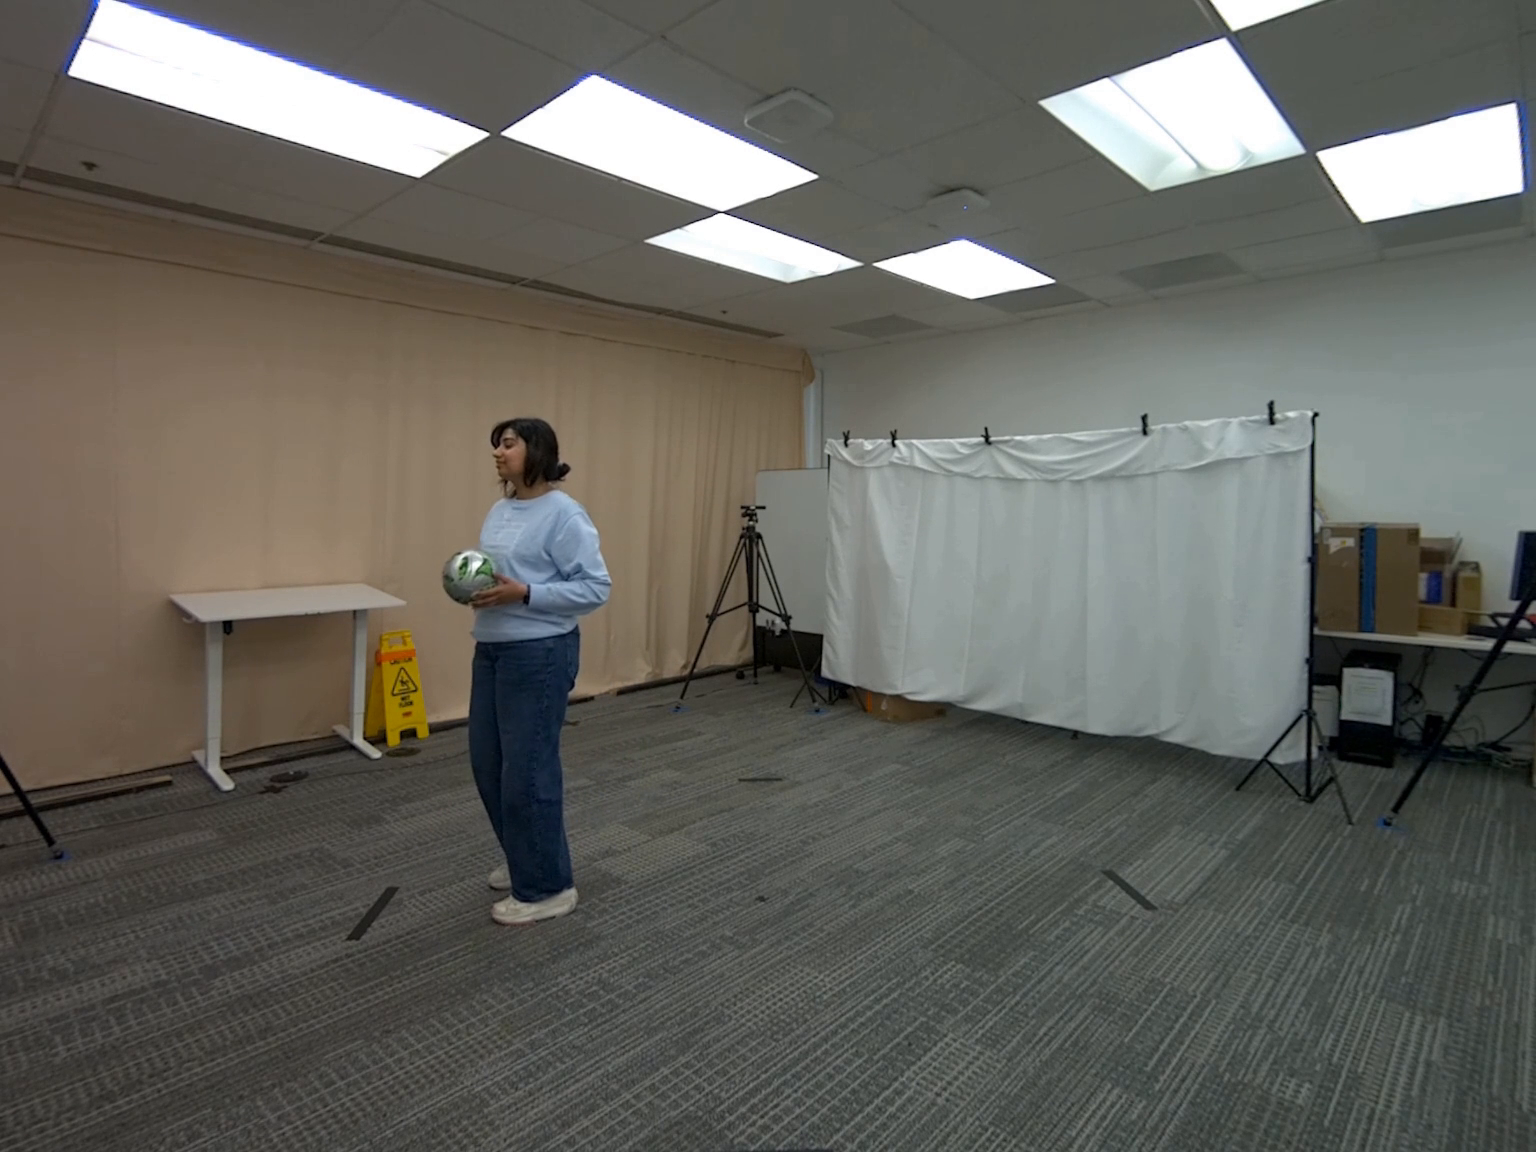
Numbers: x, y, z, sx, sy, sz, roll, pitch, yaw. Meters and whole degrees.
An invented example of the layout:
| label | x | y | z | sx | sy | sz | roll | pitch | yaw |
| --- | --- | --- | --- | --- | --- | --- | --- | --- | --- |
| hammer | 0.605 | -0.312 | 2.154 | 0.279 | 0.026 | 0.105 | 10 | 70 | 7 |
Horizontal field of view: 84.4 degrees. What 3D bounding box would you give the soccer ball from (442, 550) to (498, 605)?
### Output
| label | x | y | z | sx | sy | sz | roll | pitch | yaw |
| --- | --- | --- | --- | --- | --- | --- | --- | --- | --- |
| soccer ball | -0.955 | 0.006 | 2.721 | 0.187 | 0.187 | 0.188 | 0 | 4 | -2 |
